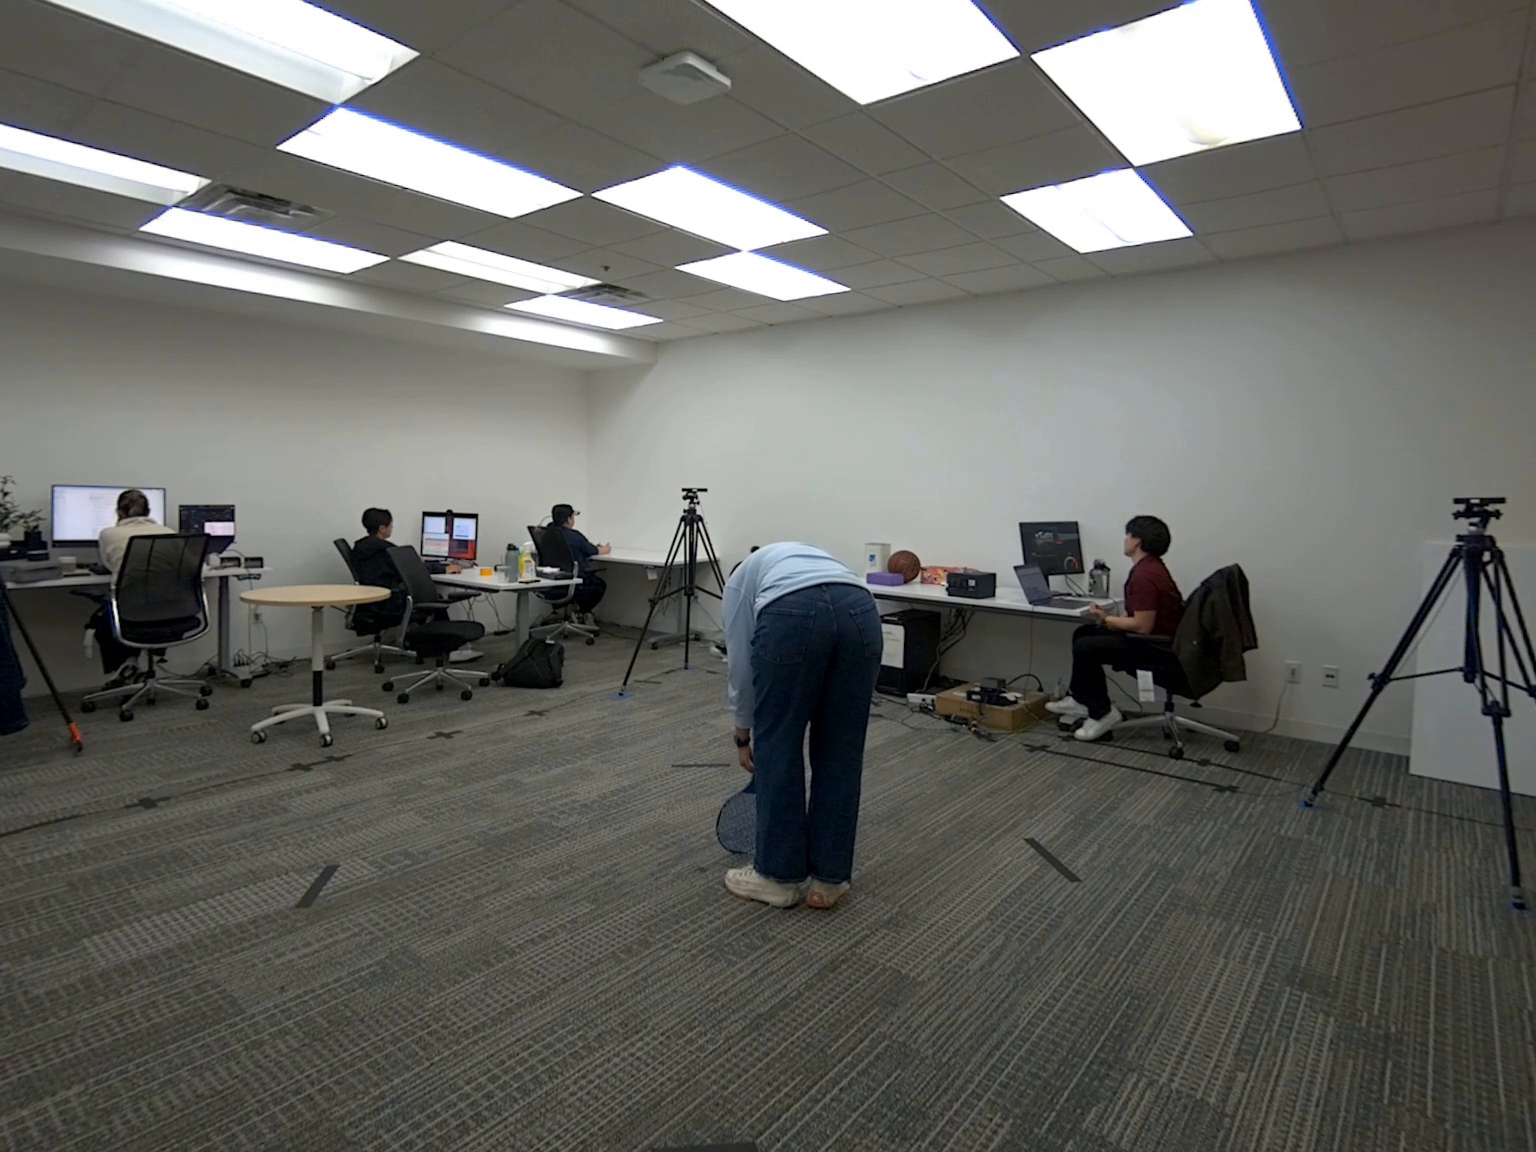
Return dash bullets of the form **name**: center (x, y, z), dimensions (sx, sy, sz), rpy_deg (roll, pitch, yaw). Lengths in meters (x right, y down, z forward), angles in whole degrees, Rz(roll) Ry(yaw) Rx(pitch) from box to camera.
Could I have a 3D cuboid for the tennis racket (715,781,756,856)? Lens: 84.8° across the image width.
- **tennis racket**: center (-0.087, 0.868, 3.187), dimensions (0.213, 0.430, 0.032), rpy_deg (12, 10, -3)
